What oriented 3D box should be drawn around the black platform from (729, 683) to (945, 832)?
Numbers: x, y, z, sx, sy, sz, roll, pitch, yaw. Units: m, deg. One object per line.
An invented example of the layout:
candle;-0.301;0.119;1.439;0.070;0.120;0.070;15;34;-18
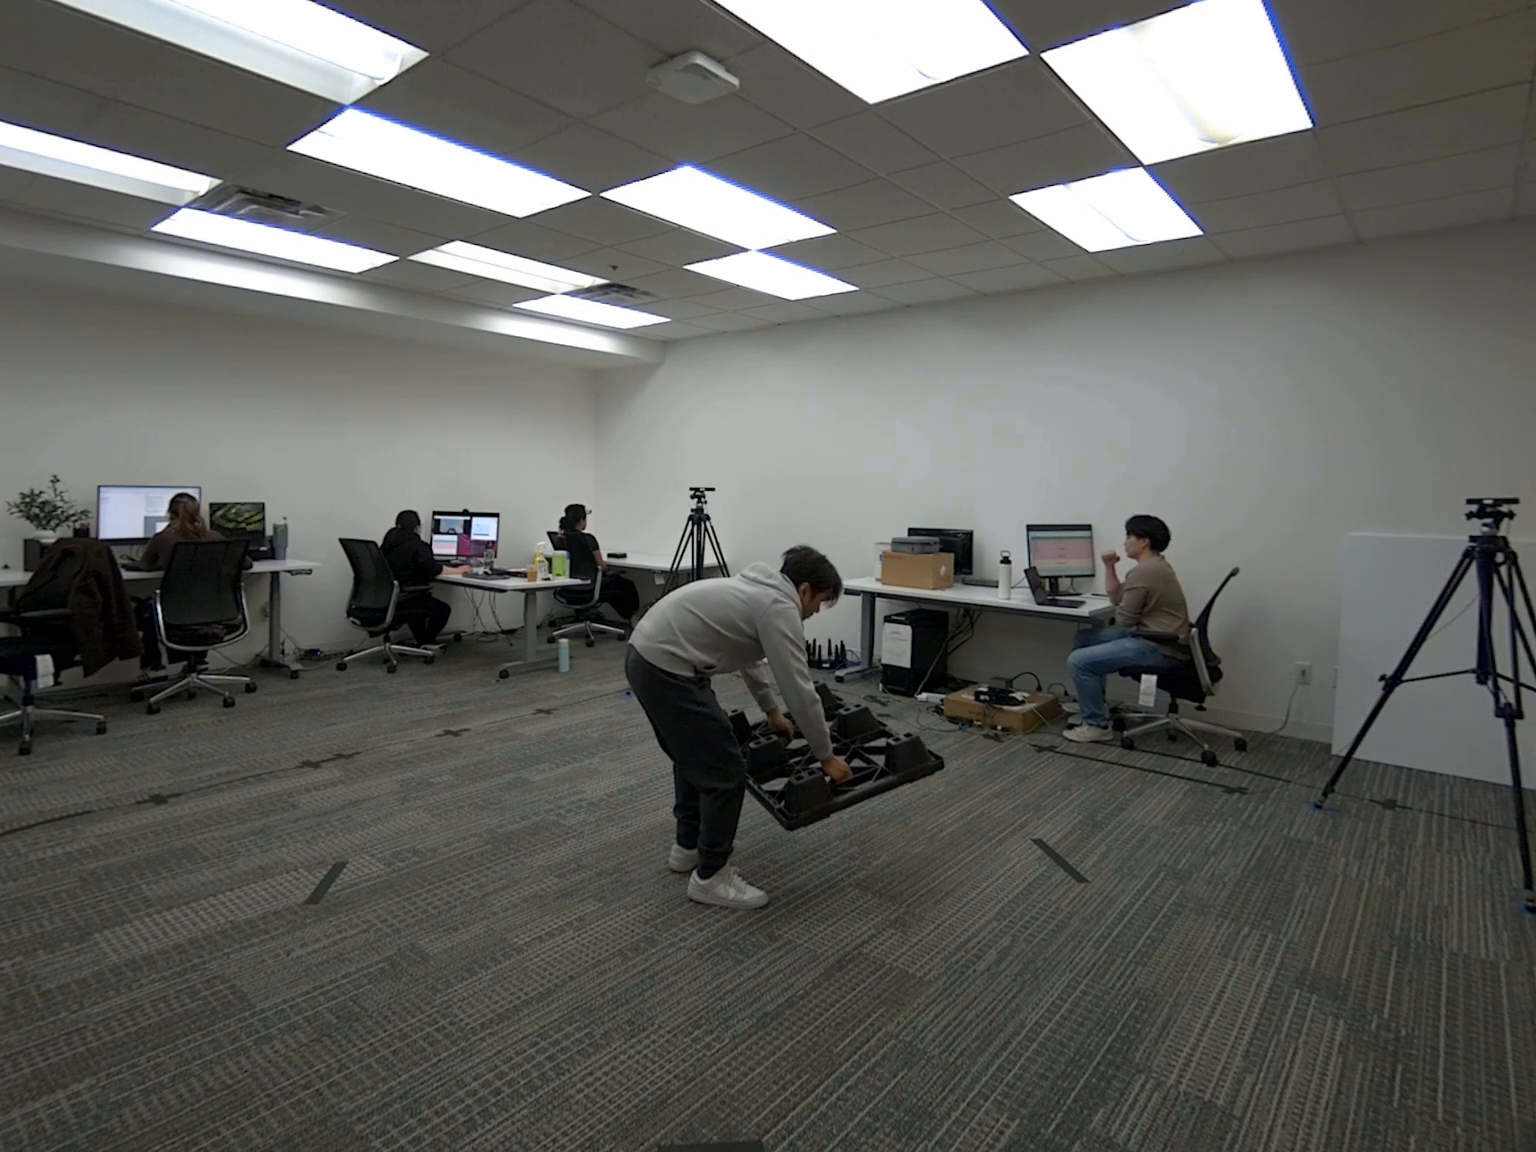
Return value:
black platform;0.146;0.603;3.121;0.597;0.141;0.828;-17;14;-19
